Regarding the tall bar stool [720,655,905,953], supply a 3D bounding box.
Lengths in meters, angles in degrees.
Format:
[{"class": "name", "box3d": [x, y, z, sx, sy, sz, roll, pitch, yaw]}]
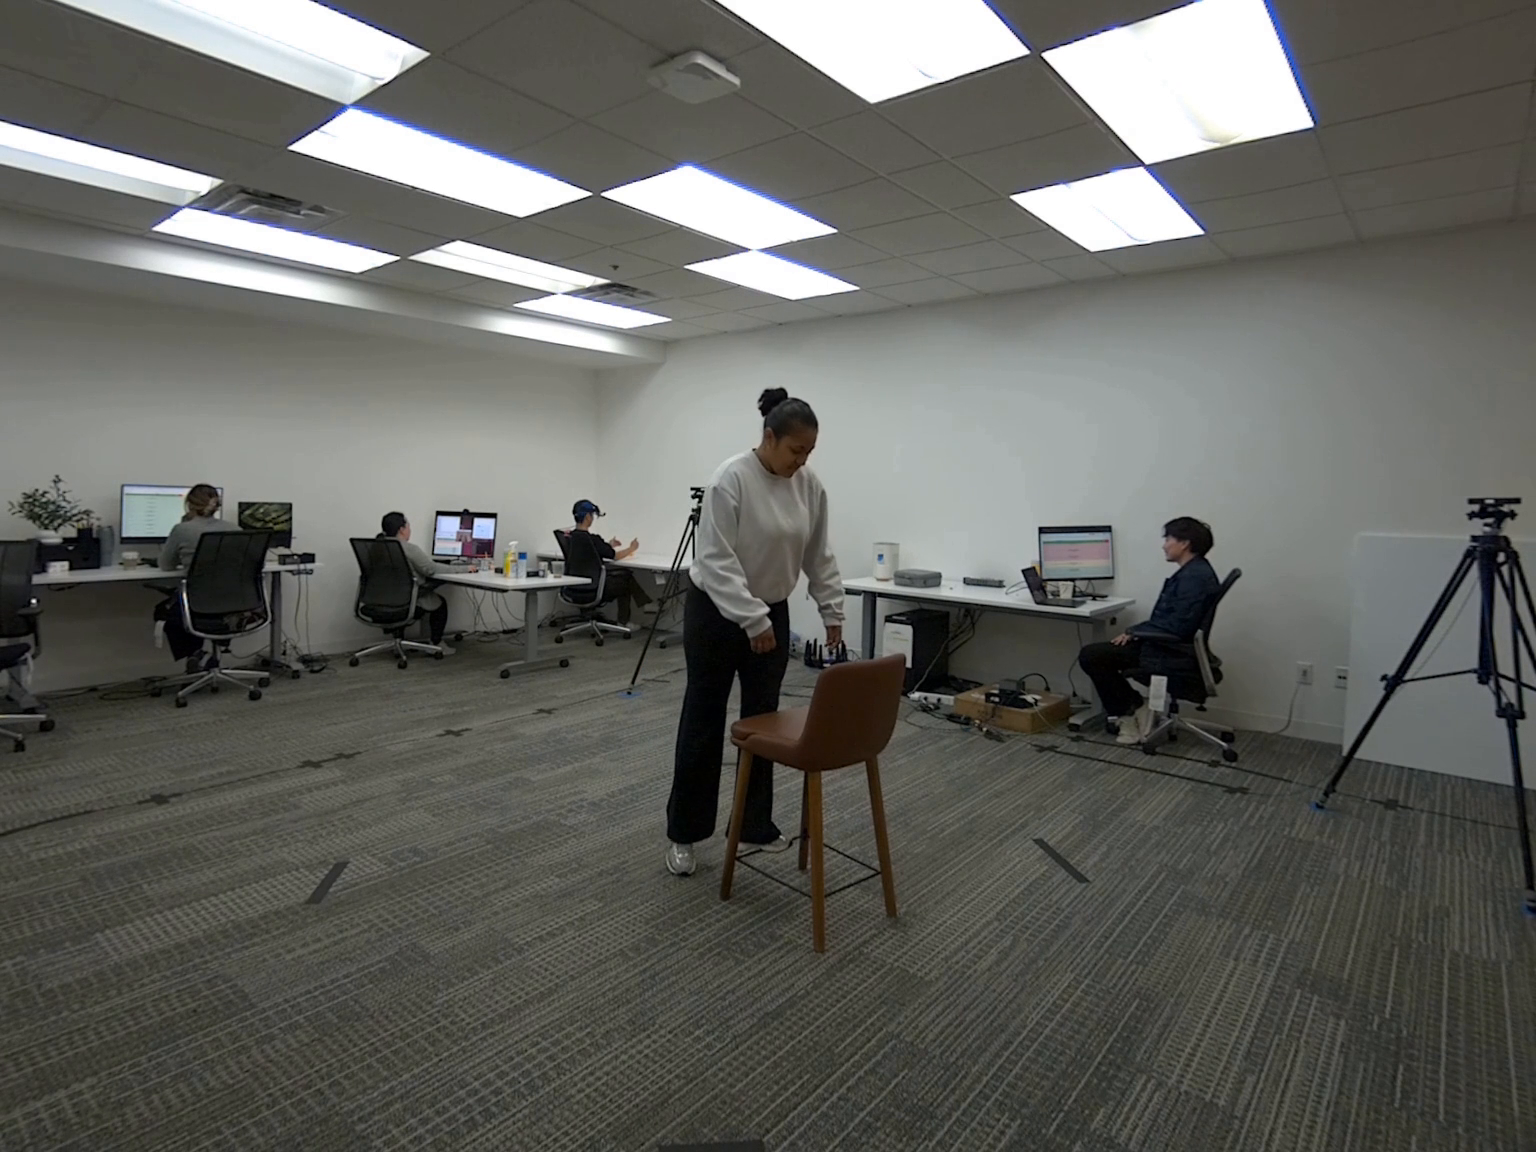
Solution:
[{"class": "tall bar stool", "box3d": [0.148, 0.663, 2.818, 0.442, 0.887, 0.484, -1, 5, -42]}]
